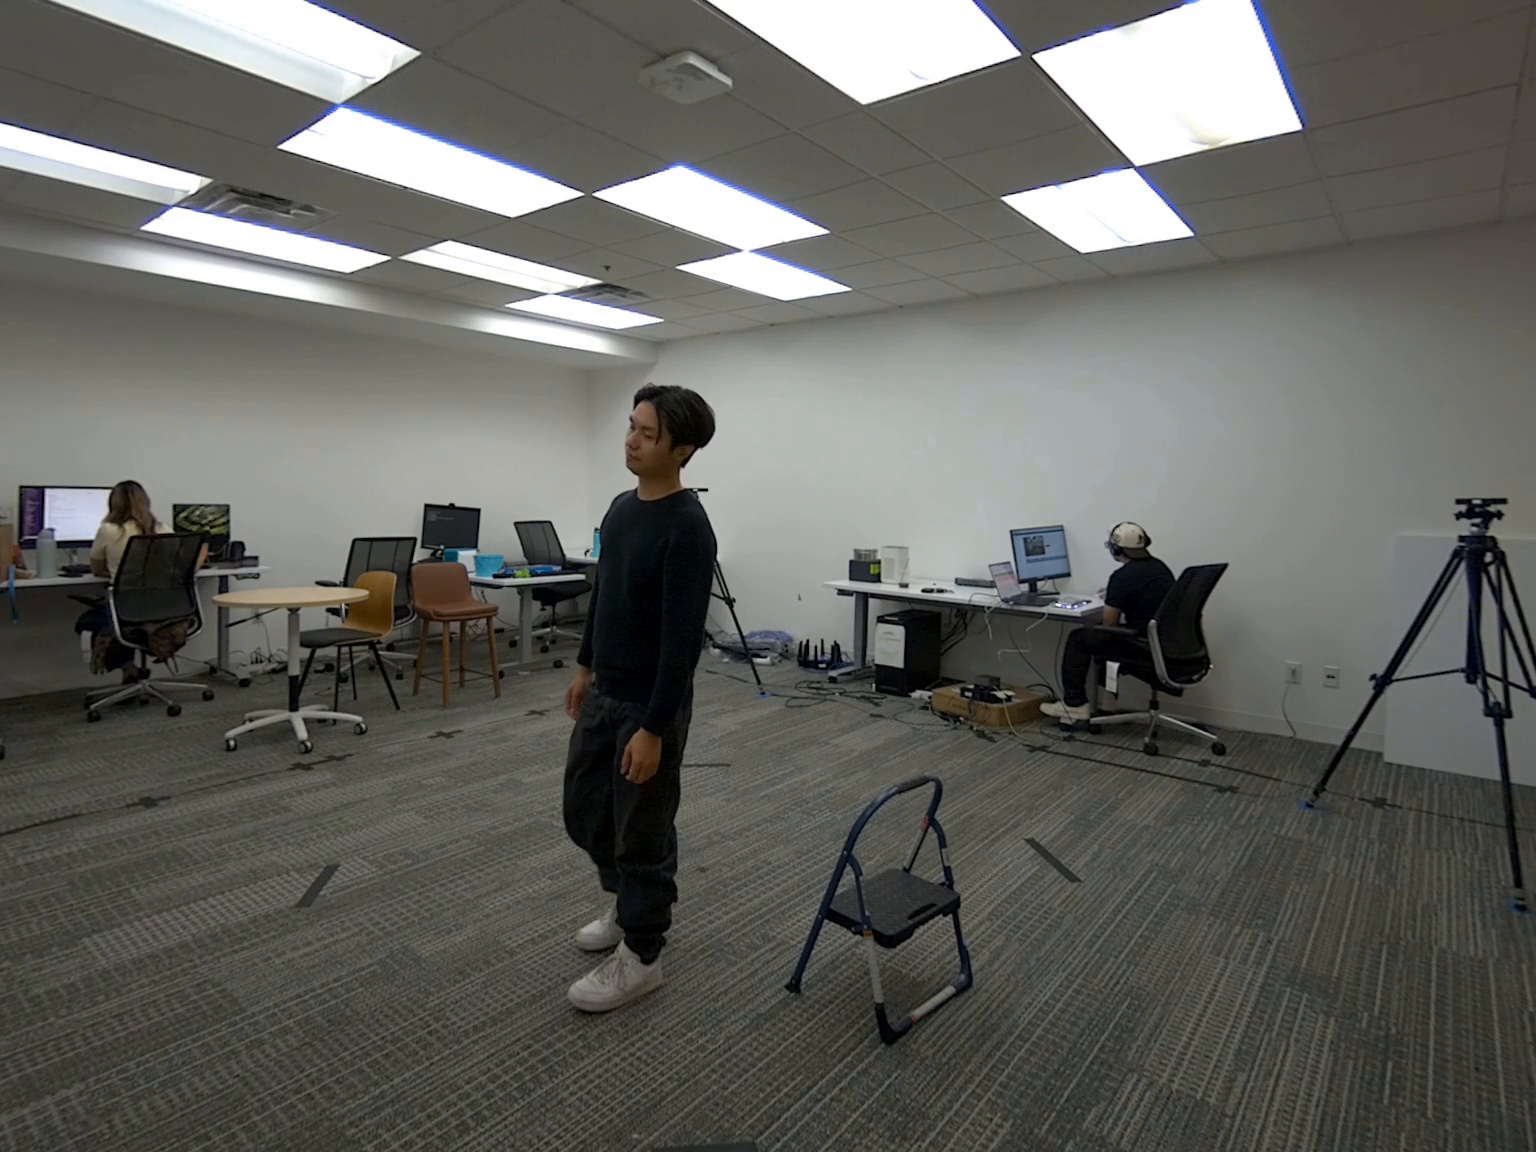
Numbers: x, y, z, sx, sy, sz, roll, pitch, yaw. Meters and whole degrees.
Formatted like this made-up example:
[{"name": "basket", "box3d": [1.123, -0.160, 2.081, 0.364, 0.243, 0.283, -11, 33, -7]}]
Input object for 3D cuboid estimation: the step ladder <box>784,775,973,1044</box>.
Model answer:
[{"name": "step ladder", "box3d": [0.321, 0.855, 2.376, 0.361, 0.604, 0.417, 5, 5, 44]}]
